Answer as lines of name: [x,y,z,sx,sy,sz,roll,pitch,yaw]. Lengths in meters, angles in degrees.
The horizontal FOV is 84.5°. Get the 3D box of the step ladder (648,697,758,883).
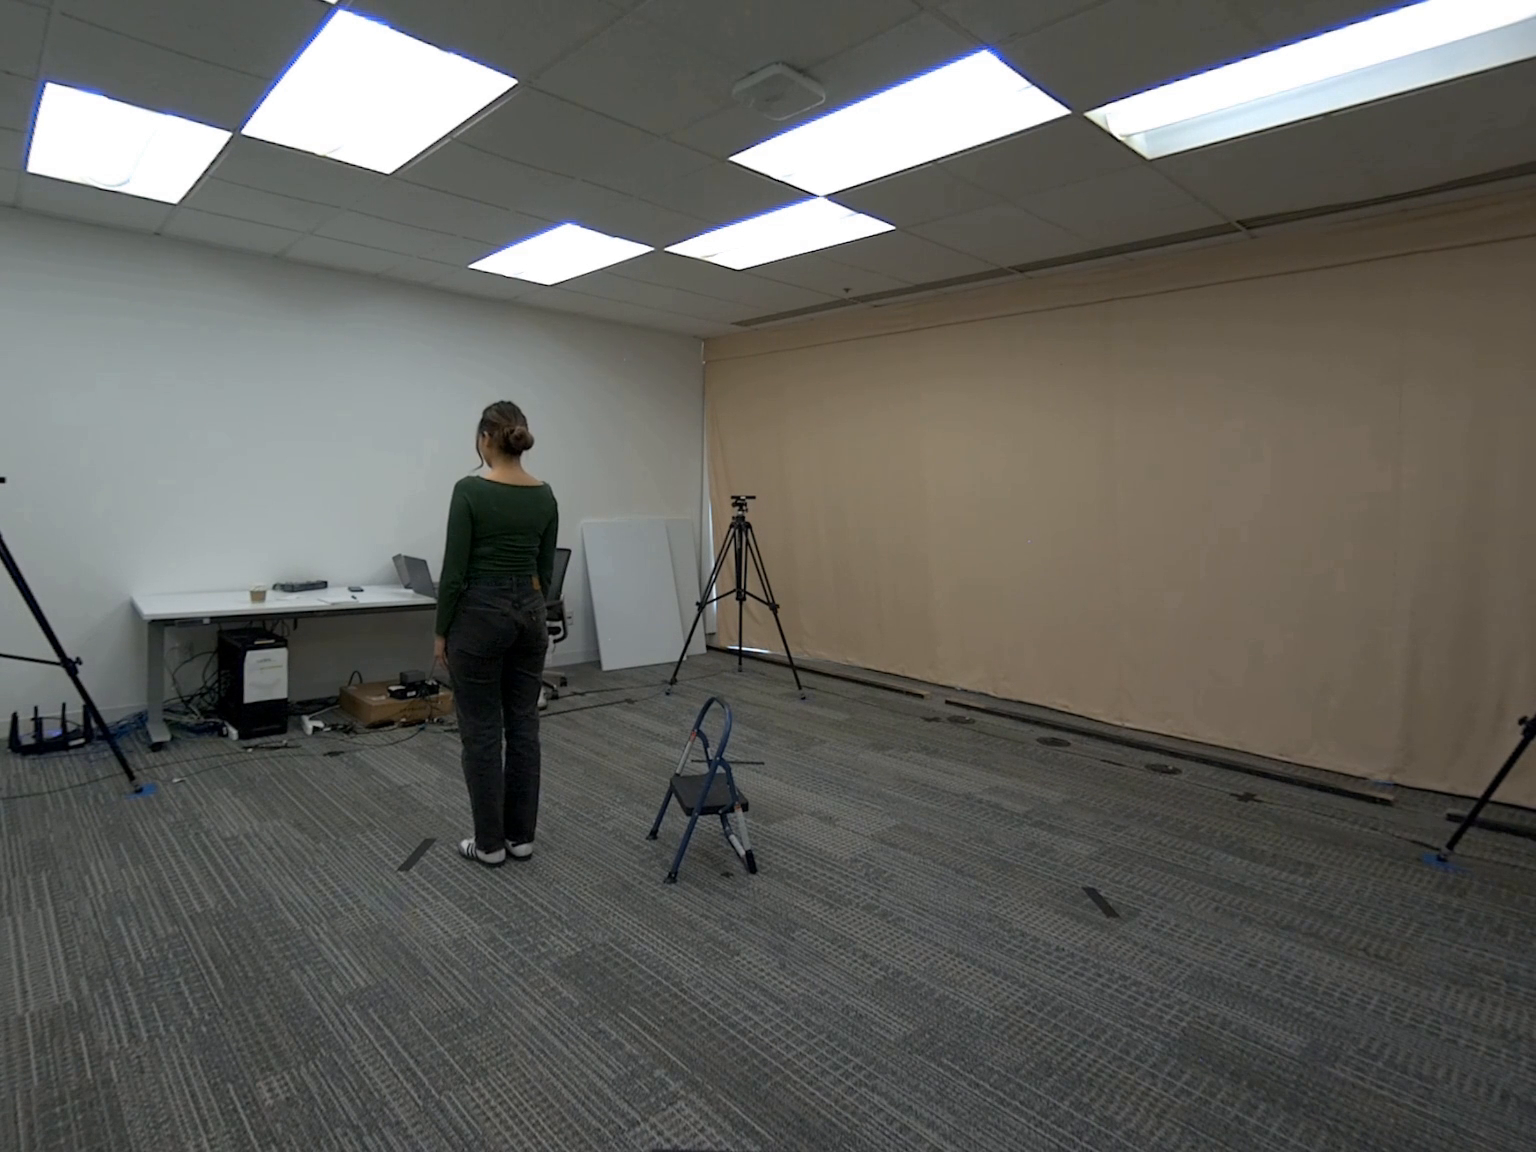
step ladder: [-0.268,0.782,3.249,0.345,0.604,0.437,0,4,-17]
